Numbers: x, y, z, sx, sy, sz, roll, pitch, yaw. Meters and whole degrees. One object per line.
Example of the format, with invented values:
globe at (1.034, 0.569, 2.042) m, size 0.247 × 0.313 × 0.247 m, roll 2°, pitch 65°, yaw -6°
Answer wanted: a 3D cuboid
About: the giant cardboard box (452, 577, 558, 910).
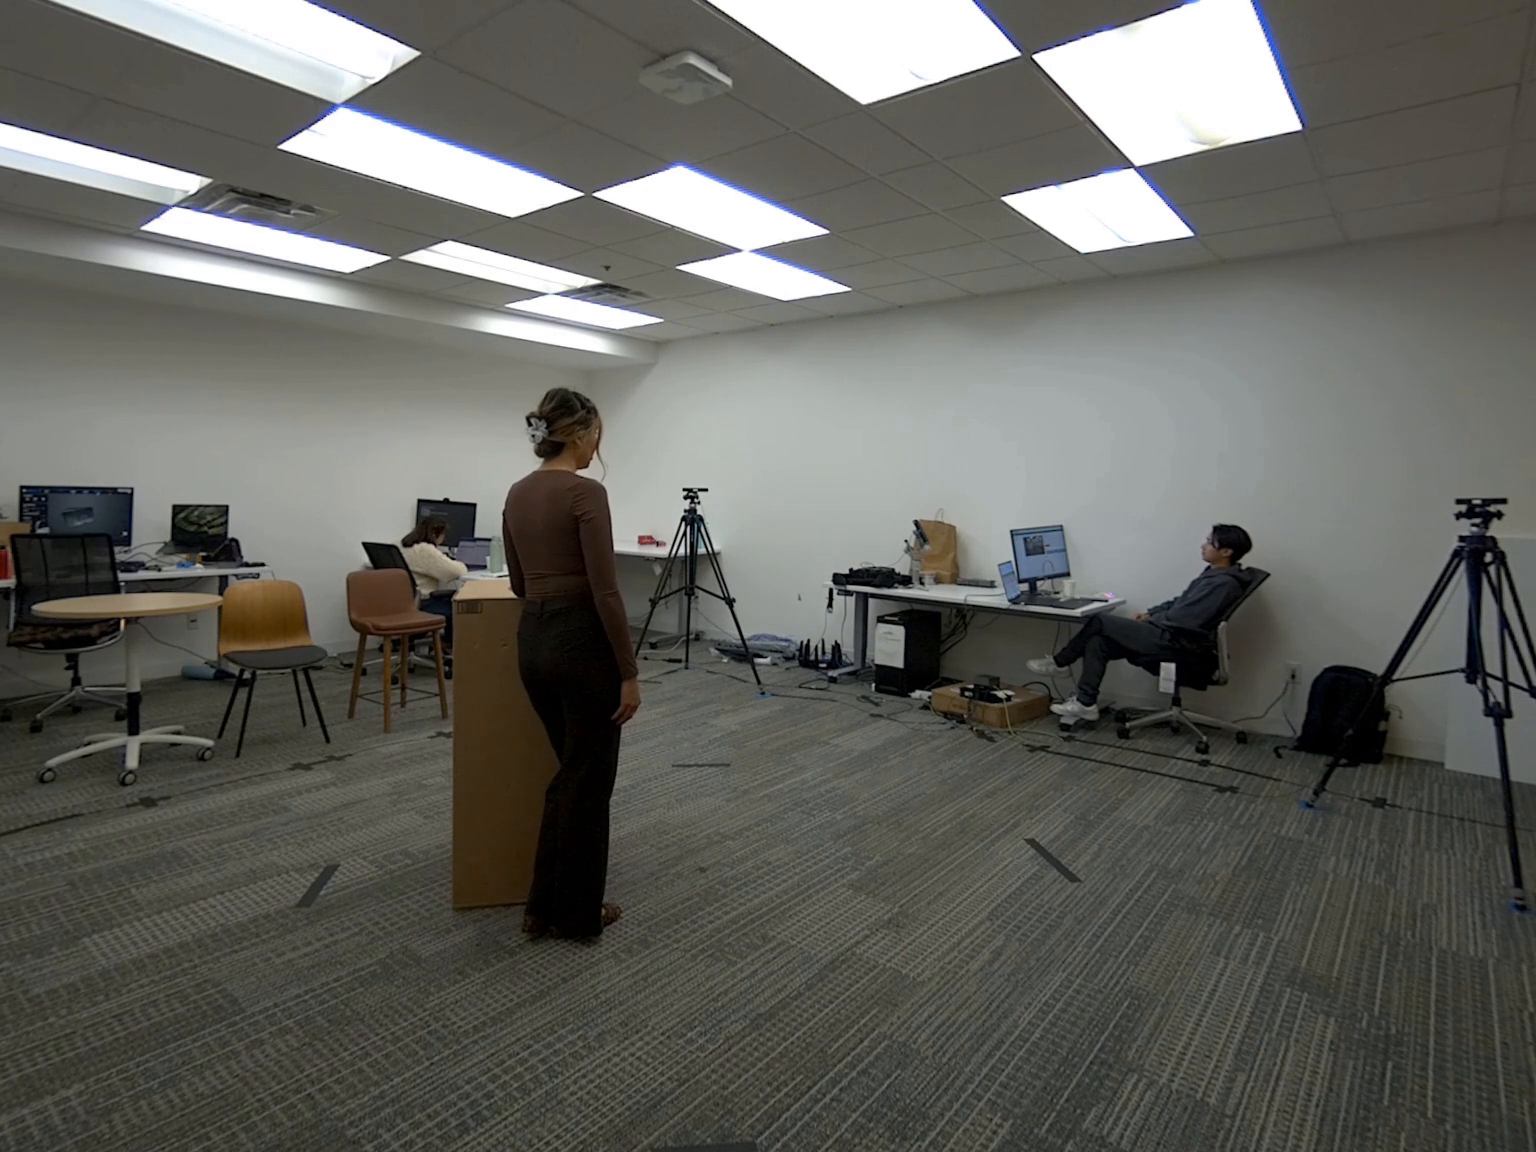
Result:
giant cardboard box at (-0.912, 0.553, 3.082) m, size 0.440 × 1.024 × 0.594 m, roll 0°, pitch 3°, yaw -15°
